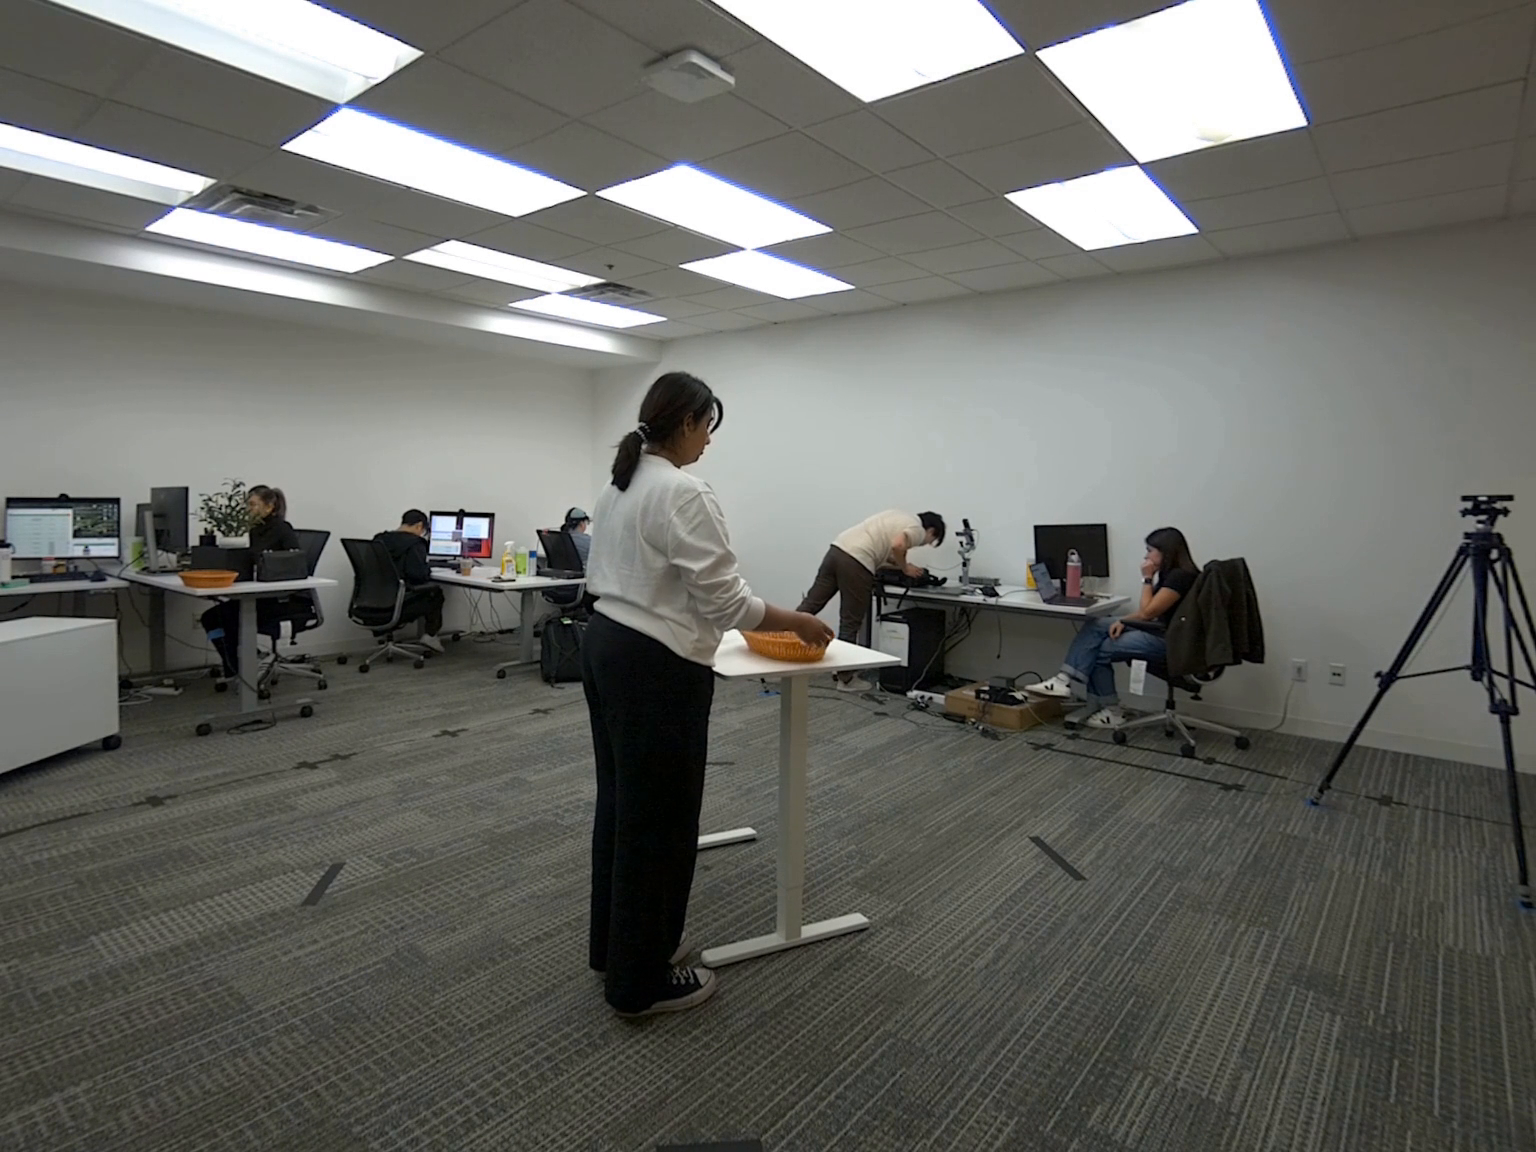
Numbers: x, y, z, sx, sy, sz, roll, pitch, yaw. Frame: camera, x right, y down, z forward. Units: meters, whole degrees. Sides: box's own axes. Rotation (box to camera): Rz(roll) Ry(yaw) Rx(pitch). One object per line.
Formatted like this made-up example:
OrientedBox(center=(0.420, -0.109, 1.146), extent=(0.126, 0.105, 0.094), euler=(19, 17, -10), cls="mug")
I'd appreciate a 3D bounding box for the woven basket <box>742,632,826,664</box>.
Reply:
OrientedBox(center=(0.029, 0.214, 2.625), extent=(0.247, 0.073, 0.359), euler=(-1, 5, -24), cls="woven basket")
